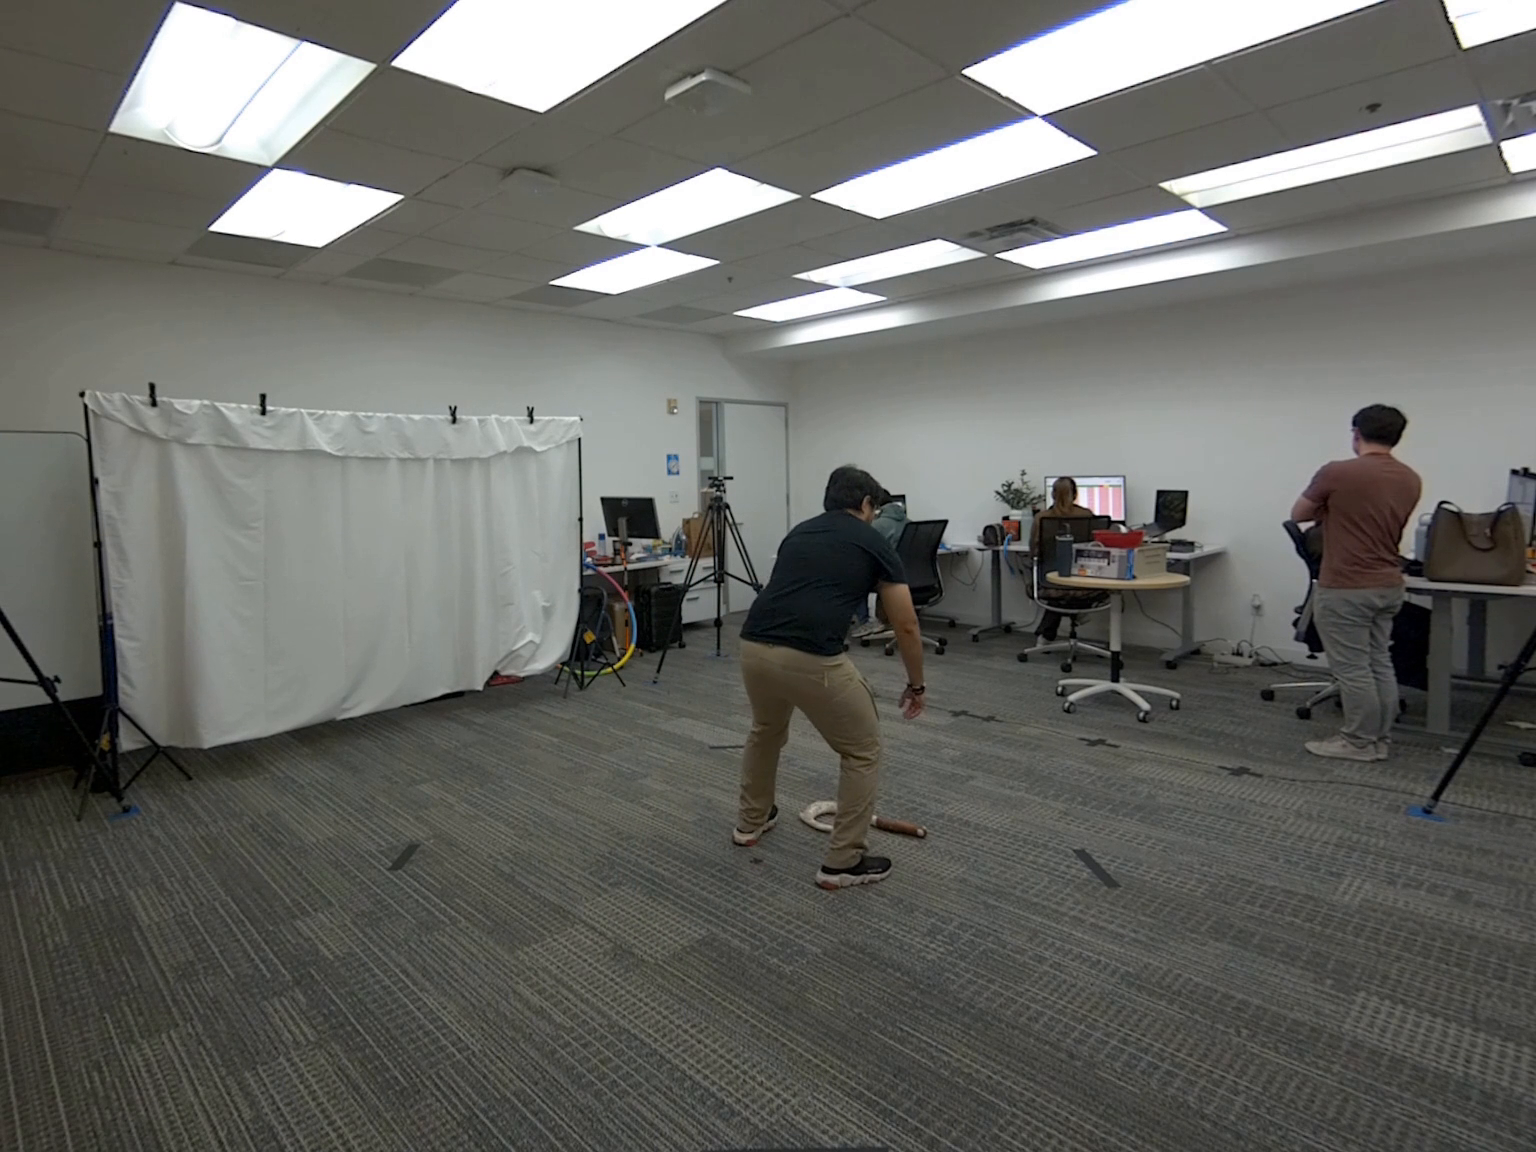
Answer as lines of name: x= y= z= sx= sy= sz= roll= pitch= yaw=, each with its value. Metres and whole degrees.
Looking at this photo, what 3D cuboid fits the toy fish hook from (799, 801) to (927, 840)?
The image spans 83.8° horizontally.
toy fish hook: x=0.367 y=0.980 z=3.371 sx=0.521 sy=0.048 sz=0.221 roll=2 pitch=14 yaw=34
